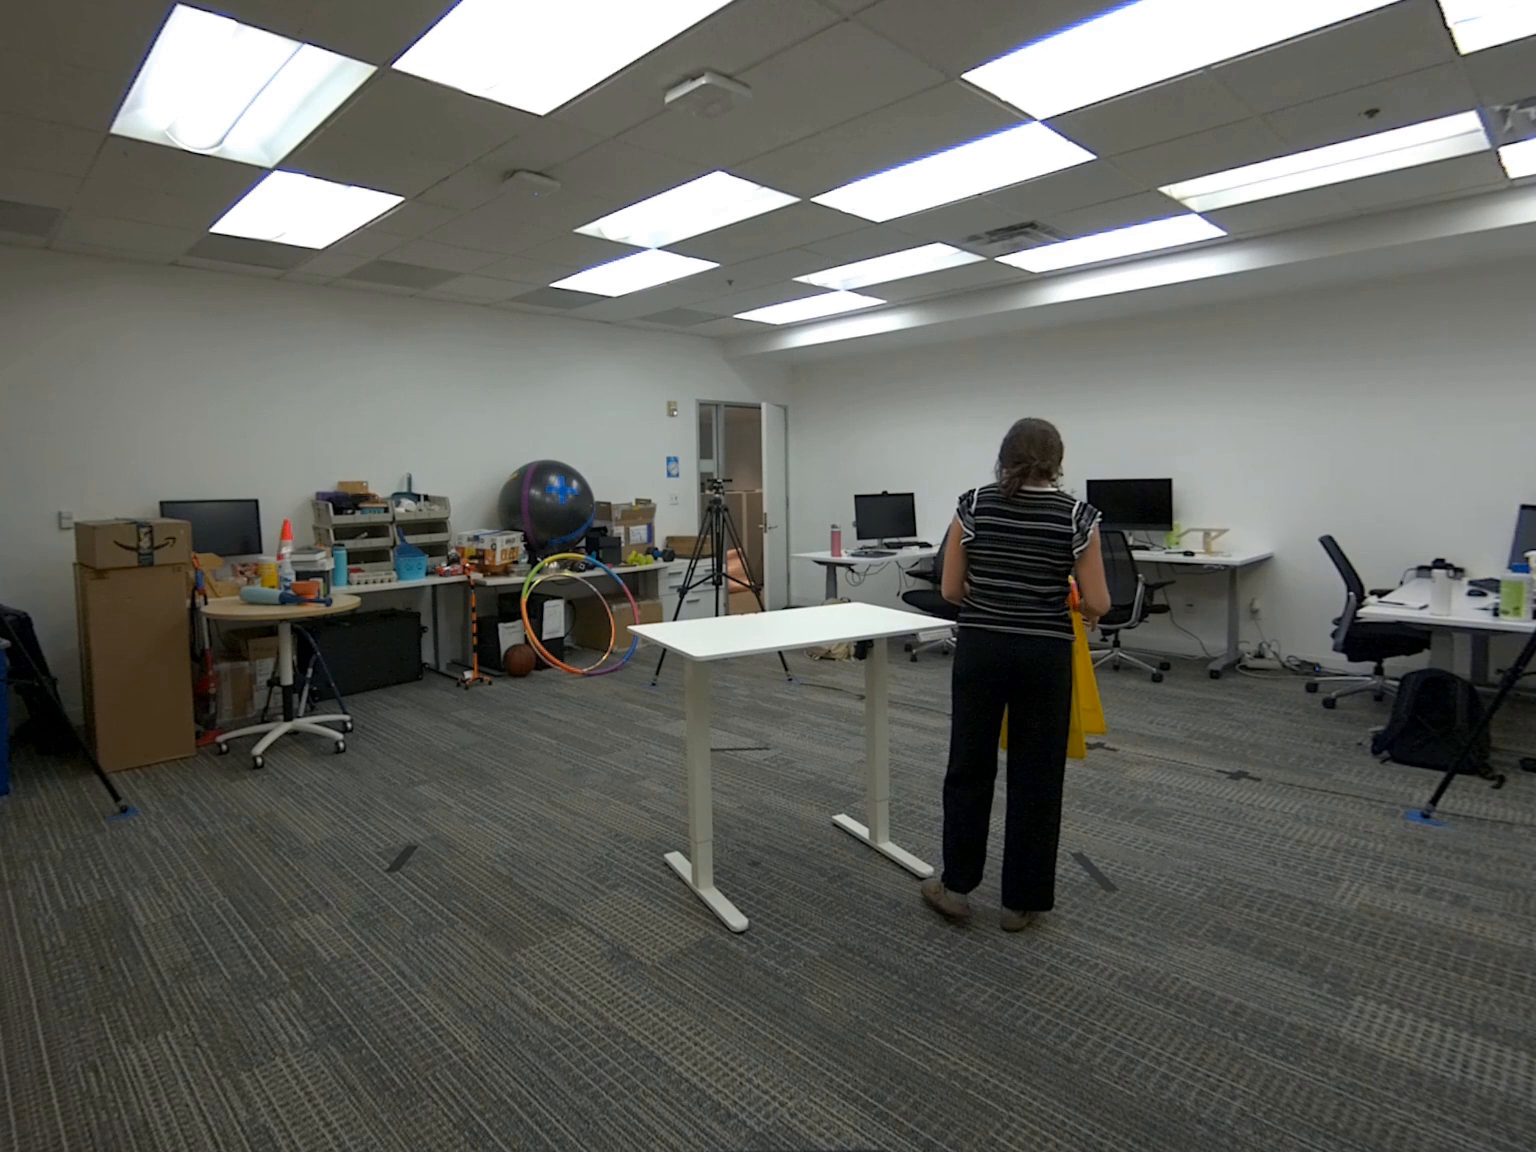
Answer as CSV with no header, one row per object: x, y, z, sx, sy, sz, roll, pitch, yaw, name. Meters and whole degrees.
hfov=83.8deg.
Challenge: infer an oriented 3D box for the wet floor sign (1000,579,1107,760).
0.935,0.246,2.858,0.290,0.643,0.284,-4,6,38,wet floor sign
